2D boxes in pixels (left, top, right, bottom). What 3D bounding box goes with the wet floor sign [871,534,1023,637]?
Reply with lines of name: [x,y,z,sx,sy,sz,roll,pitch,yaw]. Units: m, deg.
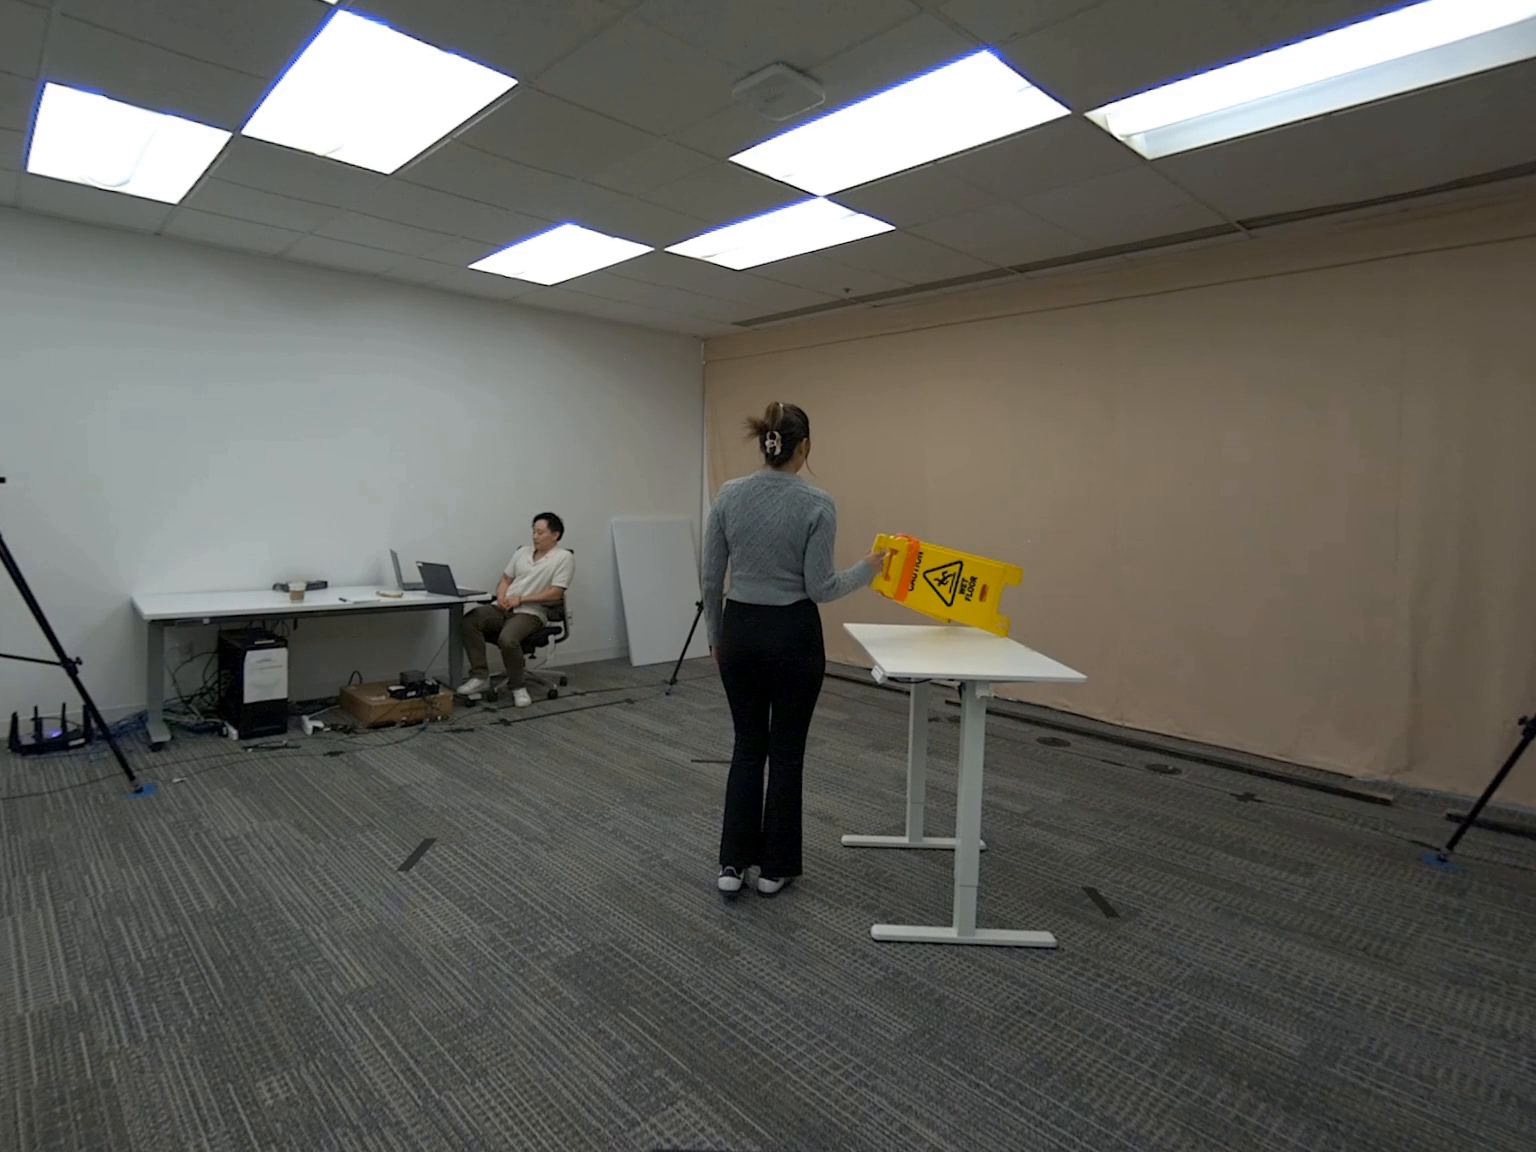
wet floor sign: [0.611,0.012,3.209,0.629,0.282,0.297,16,-2,-34]
